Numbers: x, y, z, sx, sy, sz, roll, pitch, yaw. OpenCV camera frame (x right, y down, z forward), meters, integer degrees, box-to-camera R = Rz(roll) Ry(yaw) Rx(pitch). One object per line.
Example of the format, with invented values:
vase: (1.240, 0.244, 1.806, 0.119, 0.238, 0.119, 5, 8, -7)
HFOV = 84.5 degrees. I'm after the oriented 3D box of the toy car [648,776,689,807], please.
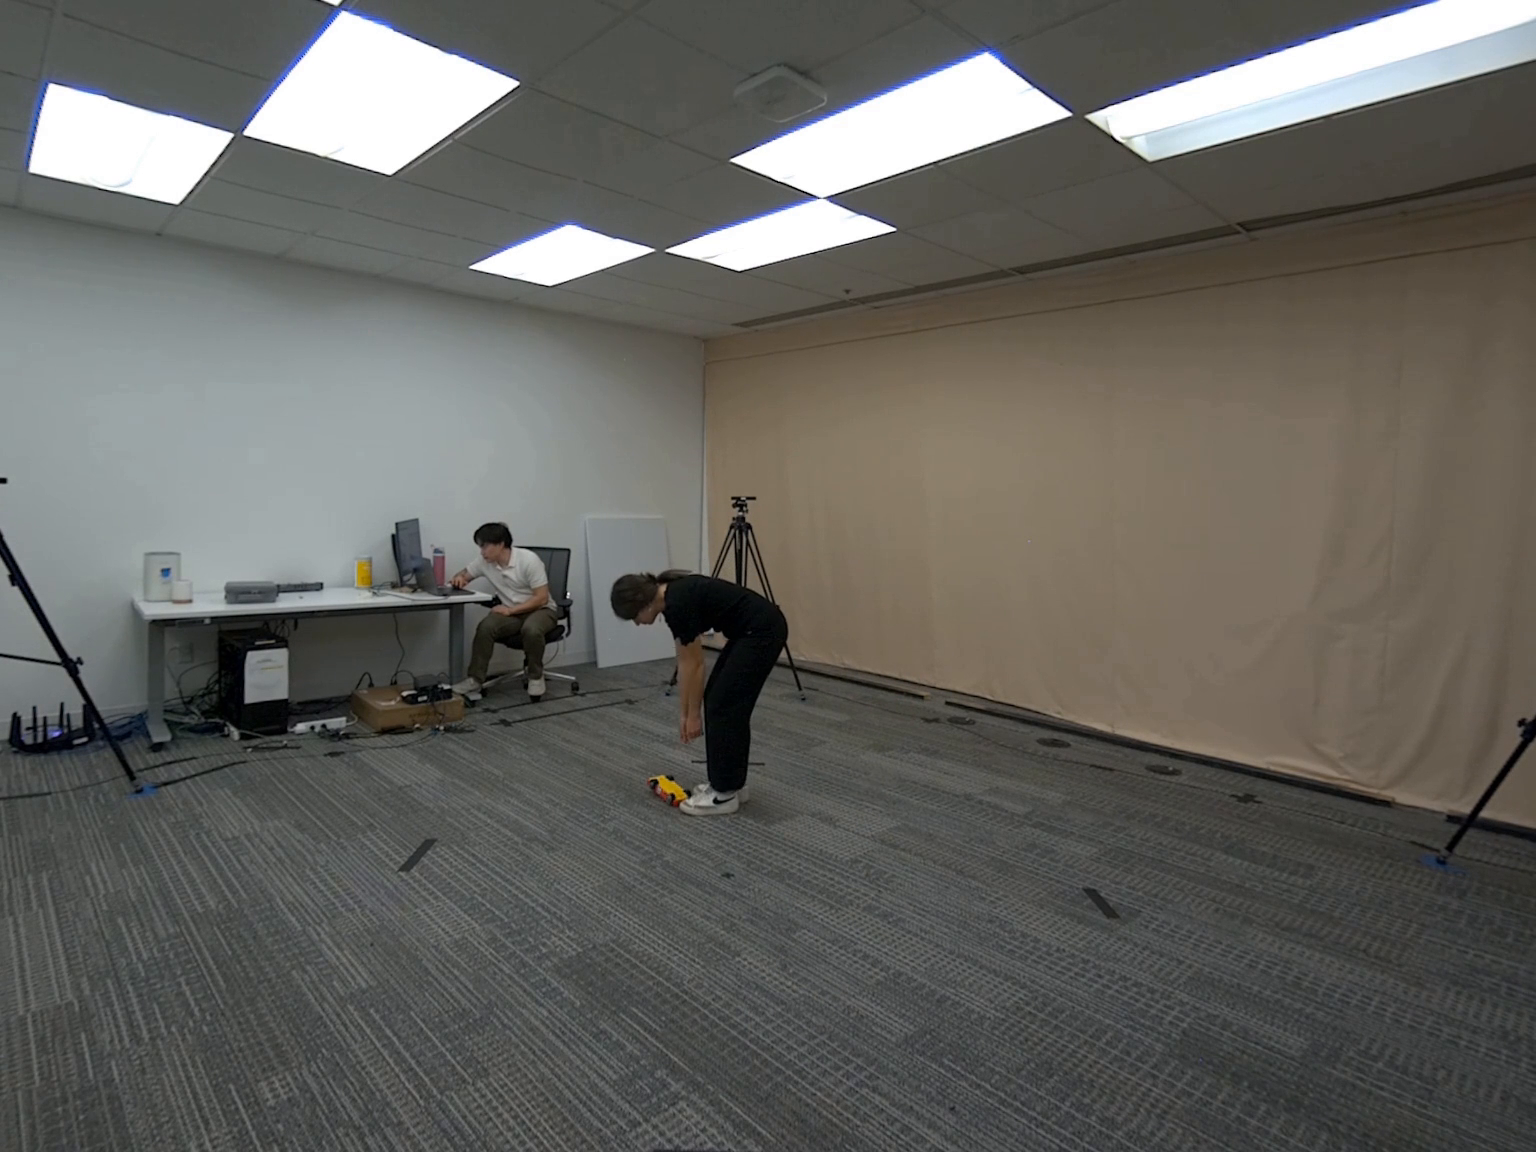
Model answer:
toy car: (-0.474, 0.983, 3.906, 0.127, 0.083, 0.261, -2, 6, -39)
